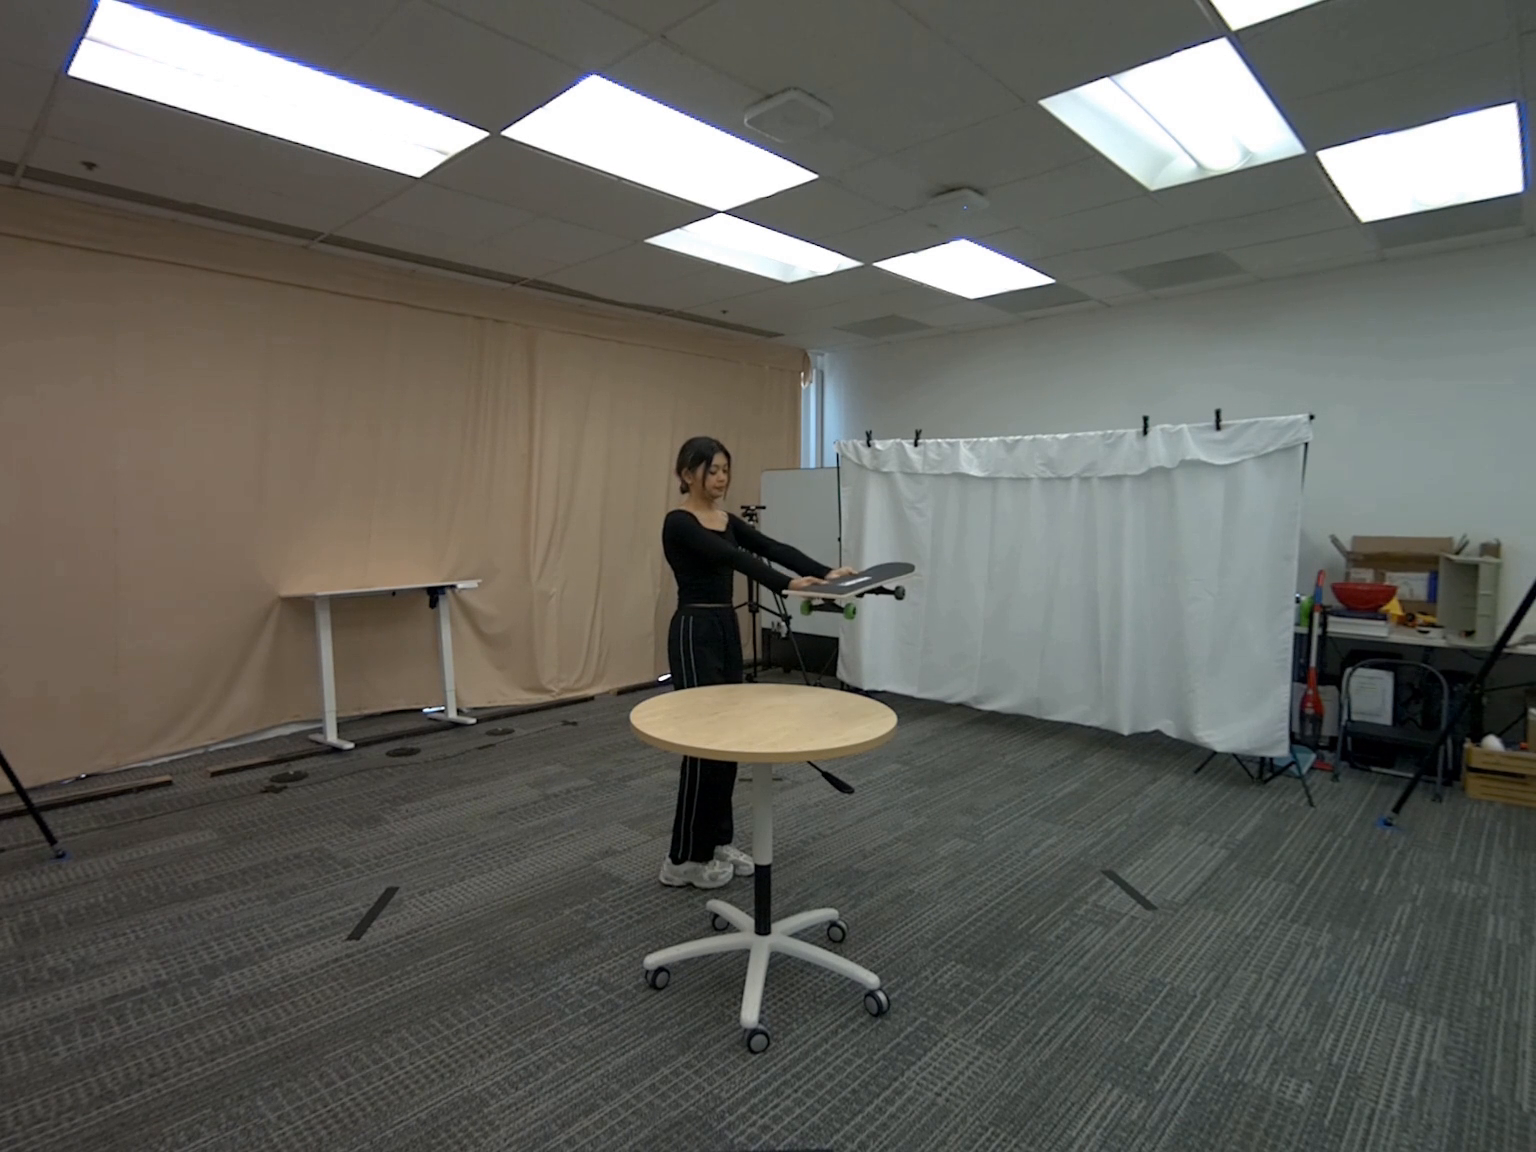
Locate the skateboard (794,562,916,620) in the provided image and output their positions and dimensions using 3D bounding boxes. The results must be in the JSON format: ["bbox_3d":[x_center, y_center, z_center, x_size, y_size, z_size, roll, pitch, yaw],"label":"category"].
[{"bbox_3d":[0.303,0.055,2.814,0.199,0.110,0.765,5,11,34],"label":"skateboard"}]
